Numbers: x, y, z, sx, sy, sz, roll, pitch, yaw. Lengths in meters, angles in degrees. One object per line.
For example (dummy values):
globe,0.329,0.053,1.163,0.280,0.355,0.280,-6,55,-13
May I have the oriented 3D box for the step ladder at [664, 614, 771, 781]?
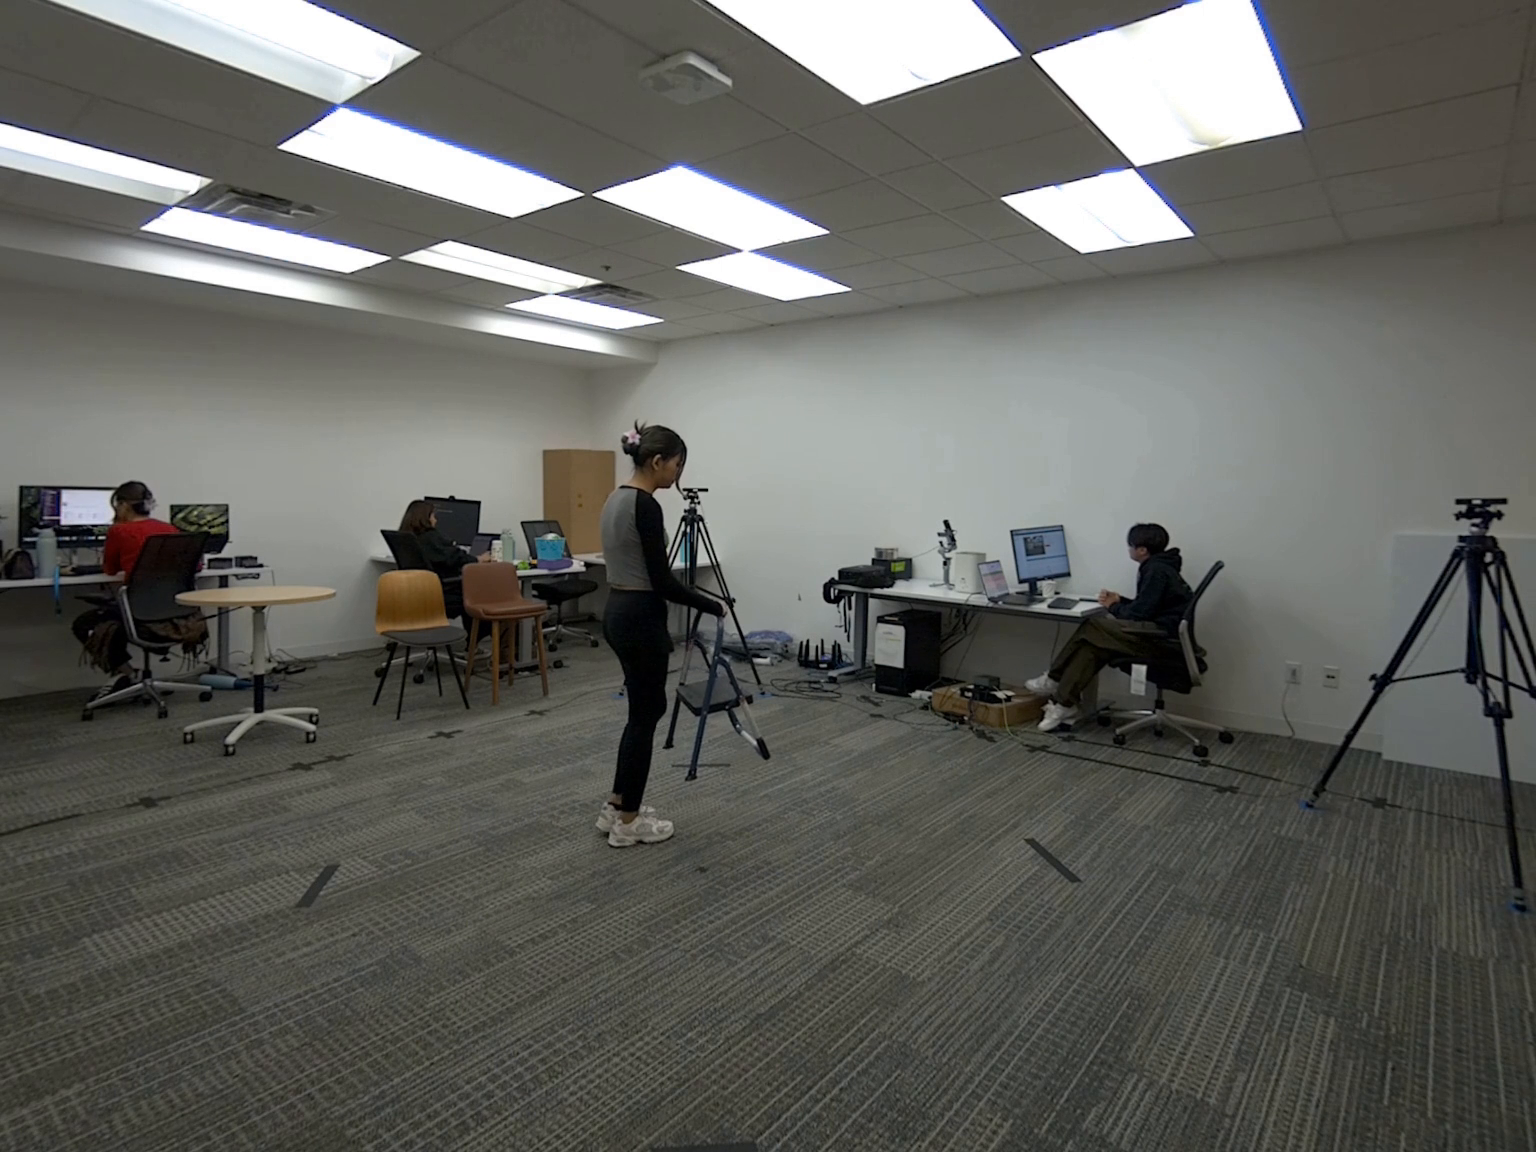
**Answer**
step ladder,-0.267,0.432,3.448,0.344,0.602,0.440,-11,7,-18
